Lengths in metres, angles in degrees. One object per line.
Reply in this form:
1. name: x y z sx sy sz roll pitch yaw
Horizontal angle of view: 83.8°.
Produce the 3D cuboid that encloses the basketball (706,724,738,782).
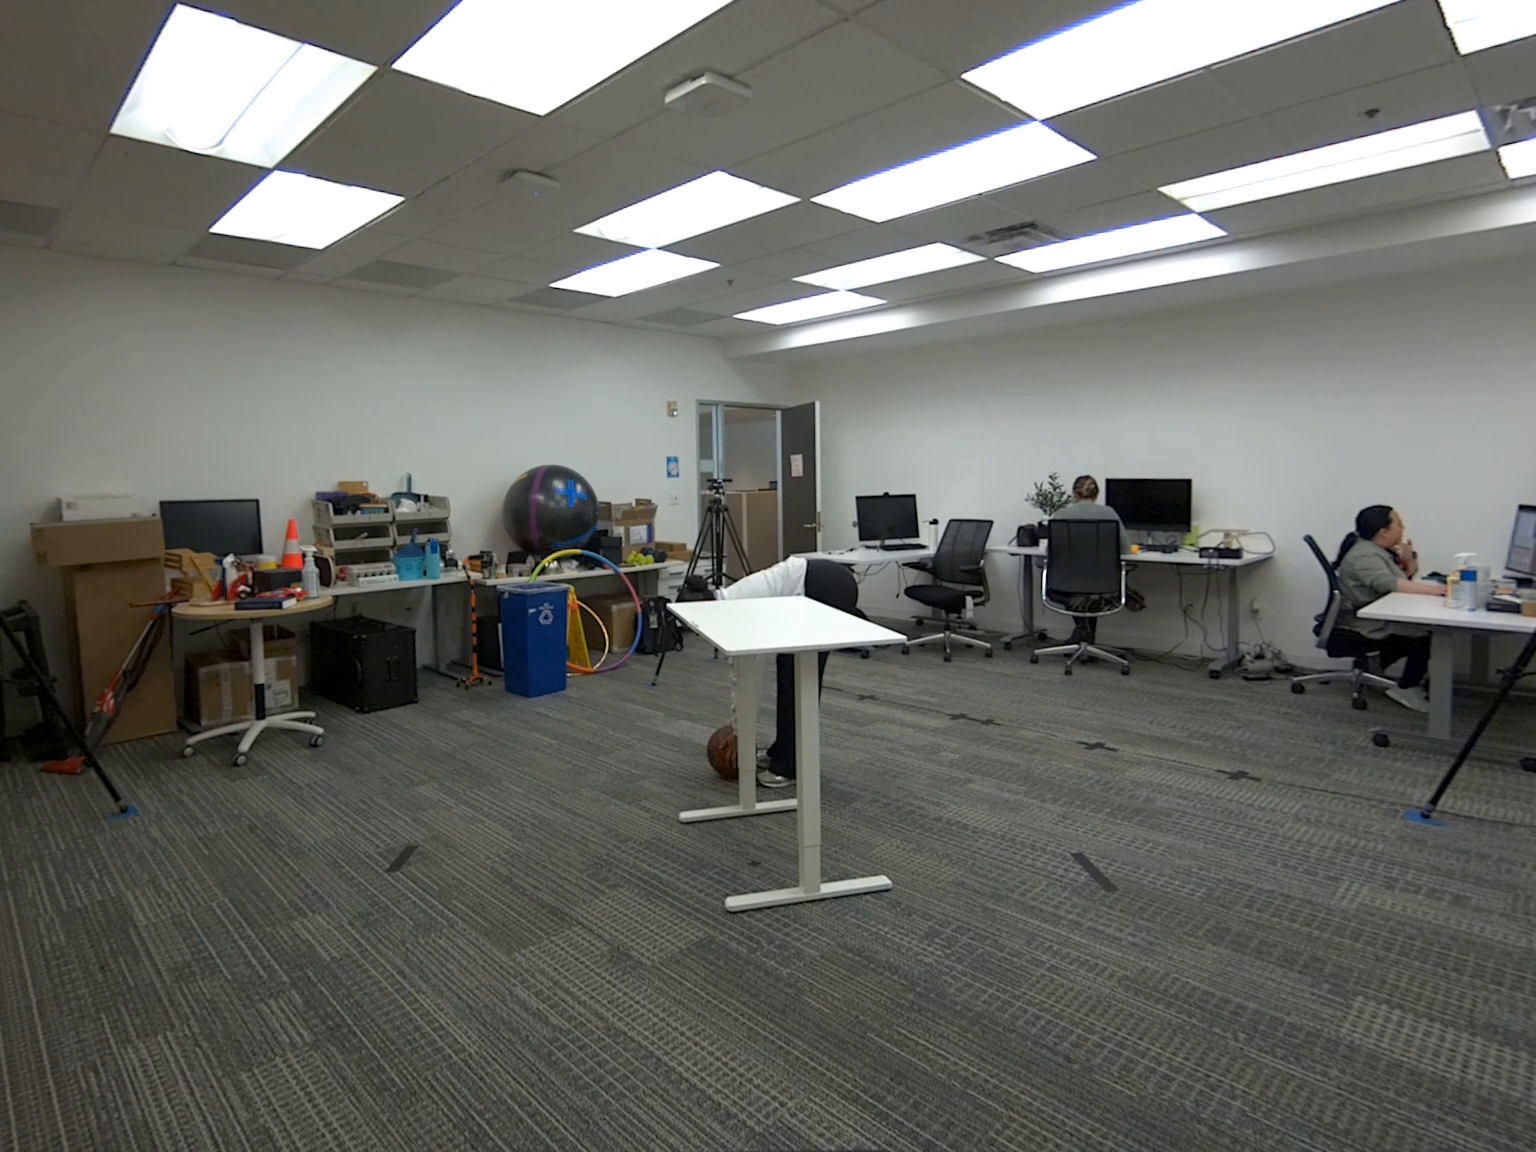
1. basketball: -0.170 0.820 4.037 0.236 0.235 0.237 -1 5 -2
